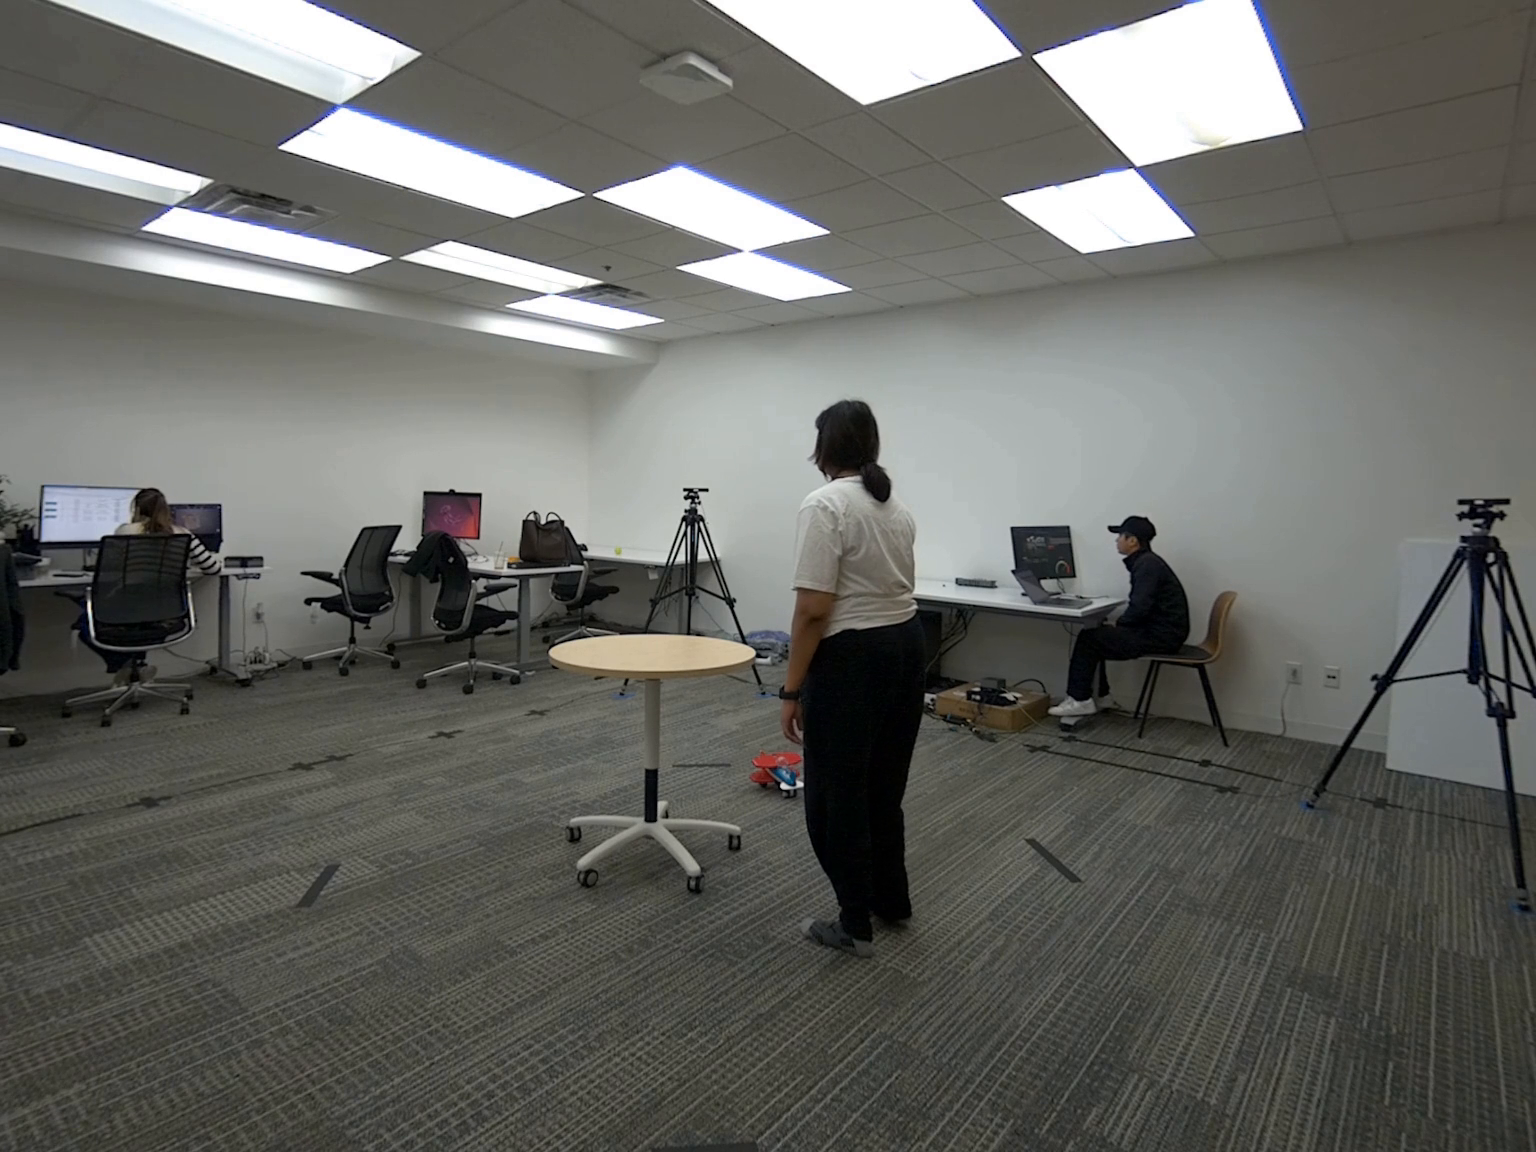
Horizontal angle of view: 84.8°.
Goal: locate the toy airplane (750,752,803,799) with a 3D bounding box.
[{"bbox_3d":[0.060,0.918,3.963,0.267,0.156,0.244,3,5,34],"label":"toy airplane"}]
